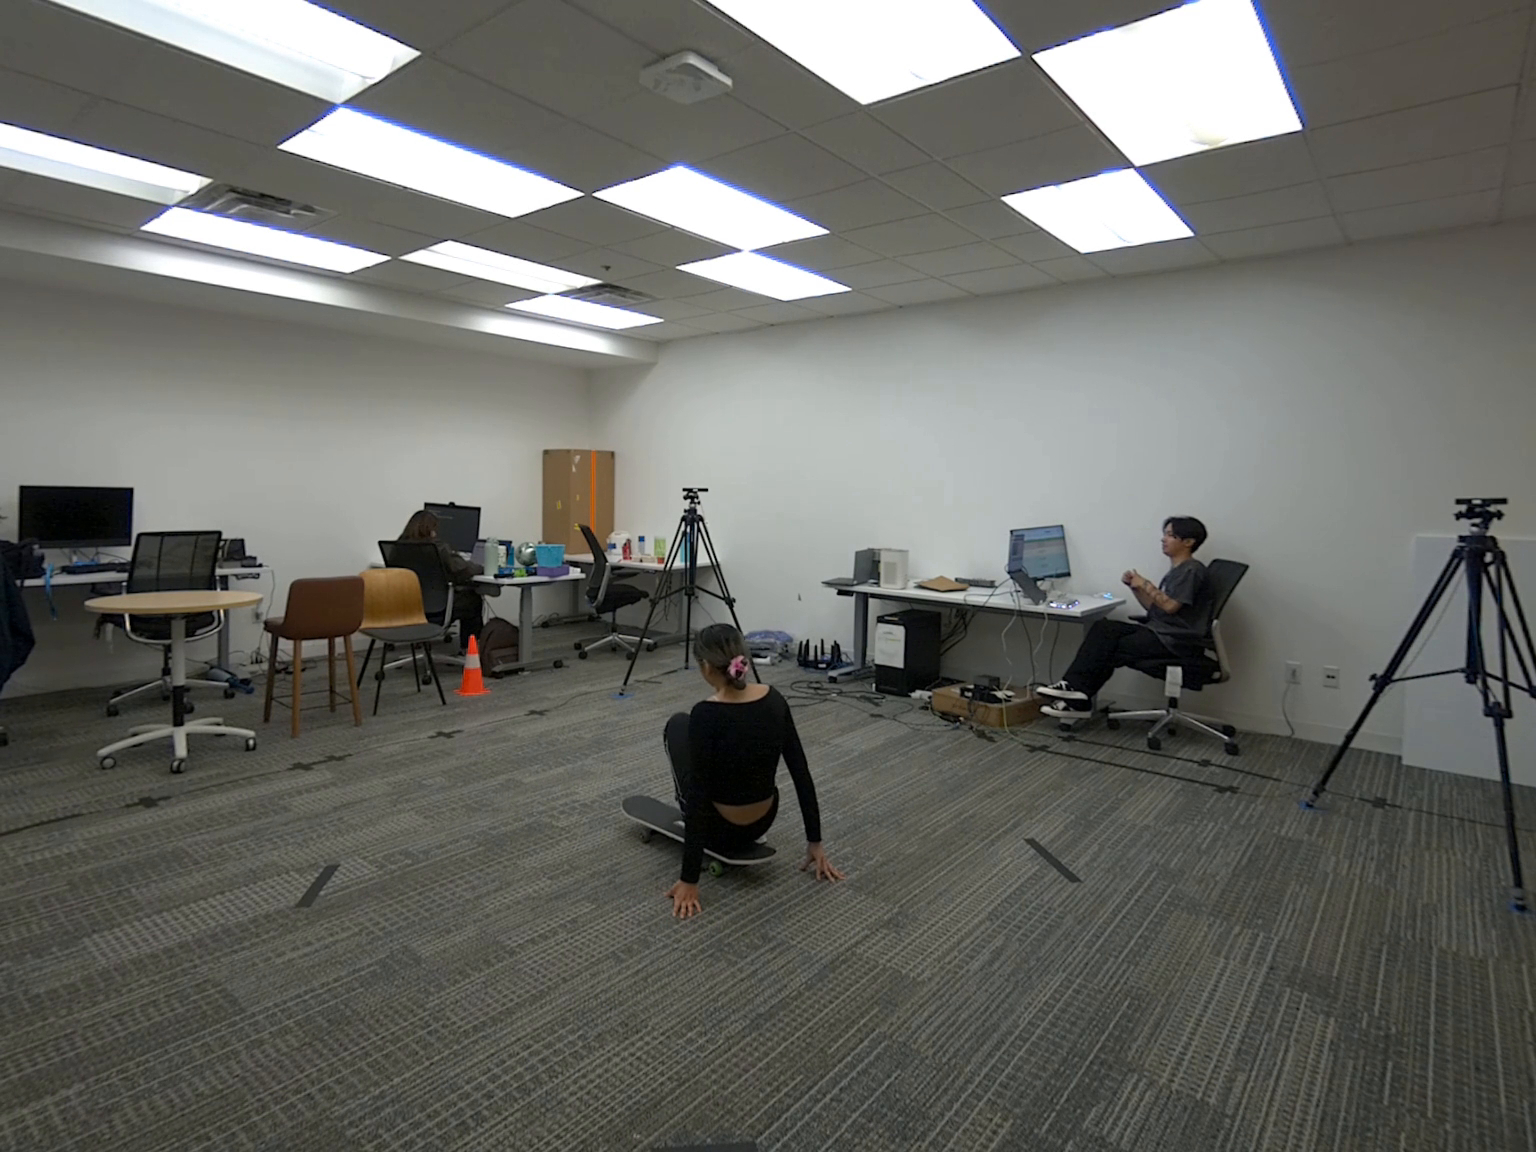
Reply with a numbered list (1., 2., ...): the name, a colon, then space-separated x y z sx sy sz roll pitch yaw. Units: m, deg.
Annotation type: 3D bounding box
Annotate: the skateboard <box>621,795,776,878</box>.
1. skateboard: -0.296 0.995 3.258 0.812 0.110 0.188 6 8 43
